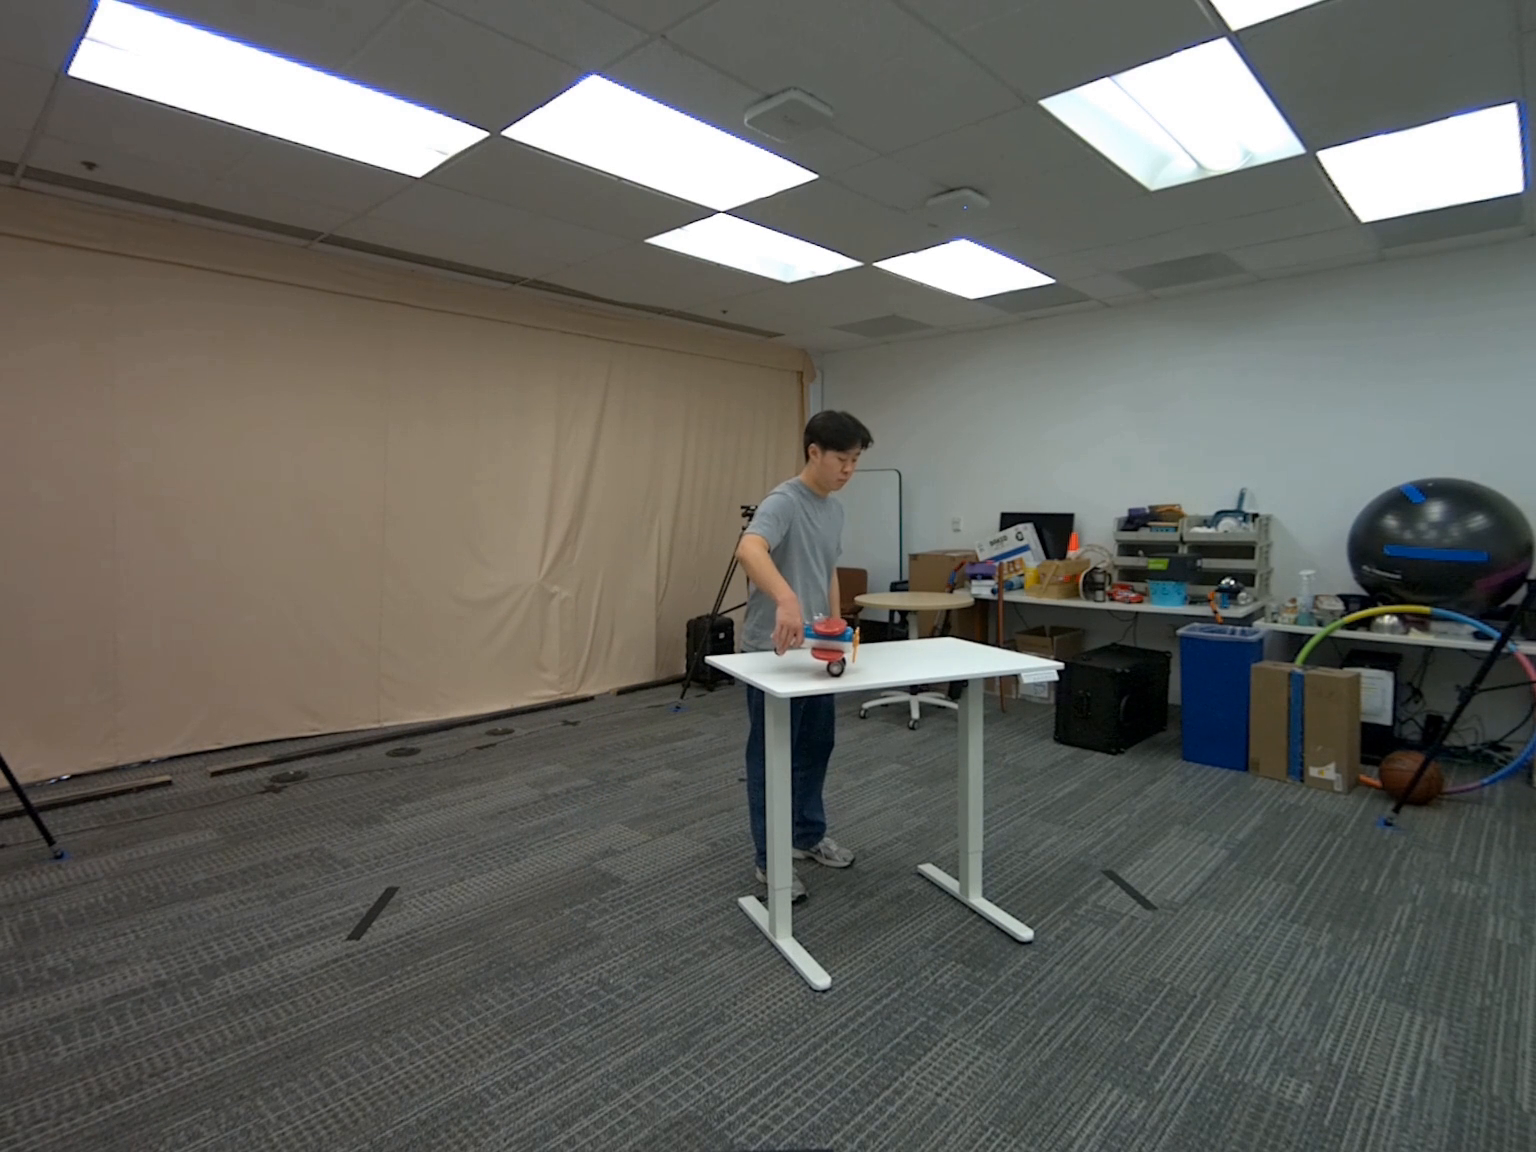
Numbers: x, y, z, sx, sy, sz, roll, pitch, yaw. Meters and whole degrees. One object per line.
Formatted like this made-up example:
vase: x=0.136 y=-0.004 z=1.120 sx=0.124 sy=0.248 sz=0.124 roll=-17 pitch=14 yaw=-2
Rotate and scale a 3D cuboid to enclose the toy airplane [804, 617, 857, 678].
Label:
toy airplane: x=0.149 y=0.201 z=2.545 sx=0.254 sy=0.156 sz=0.257 roll=16 pitch=7 yaw=-19
